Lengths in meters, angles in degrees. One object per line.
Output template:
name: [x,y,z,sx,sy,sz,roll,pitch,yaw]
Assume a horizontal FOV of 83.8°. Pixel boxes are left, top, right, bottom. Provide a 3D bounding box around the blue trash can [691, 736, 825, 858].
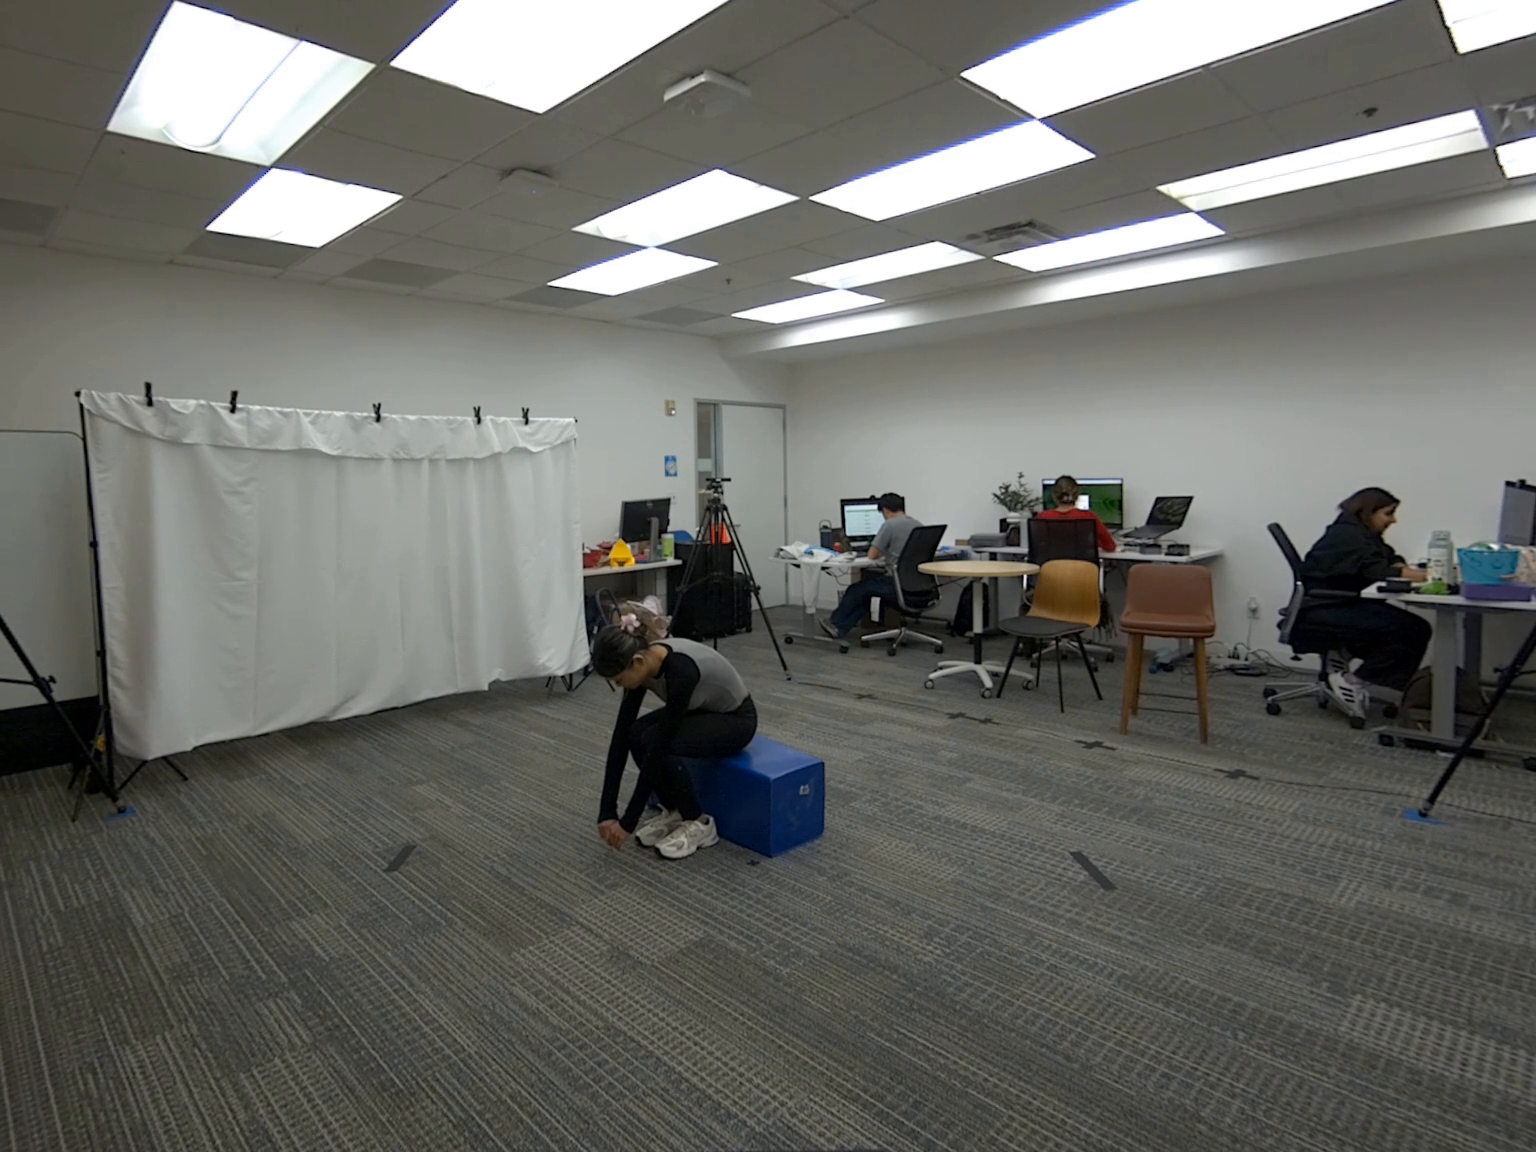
blue trash can: [-0.132,0.826,3.486,0.368,0.372,0.736,-5,9,-44]
